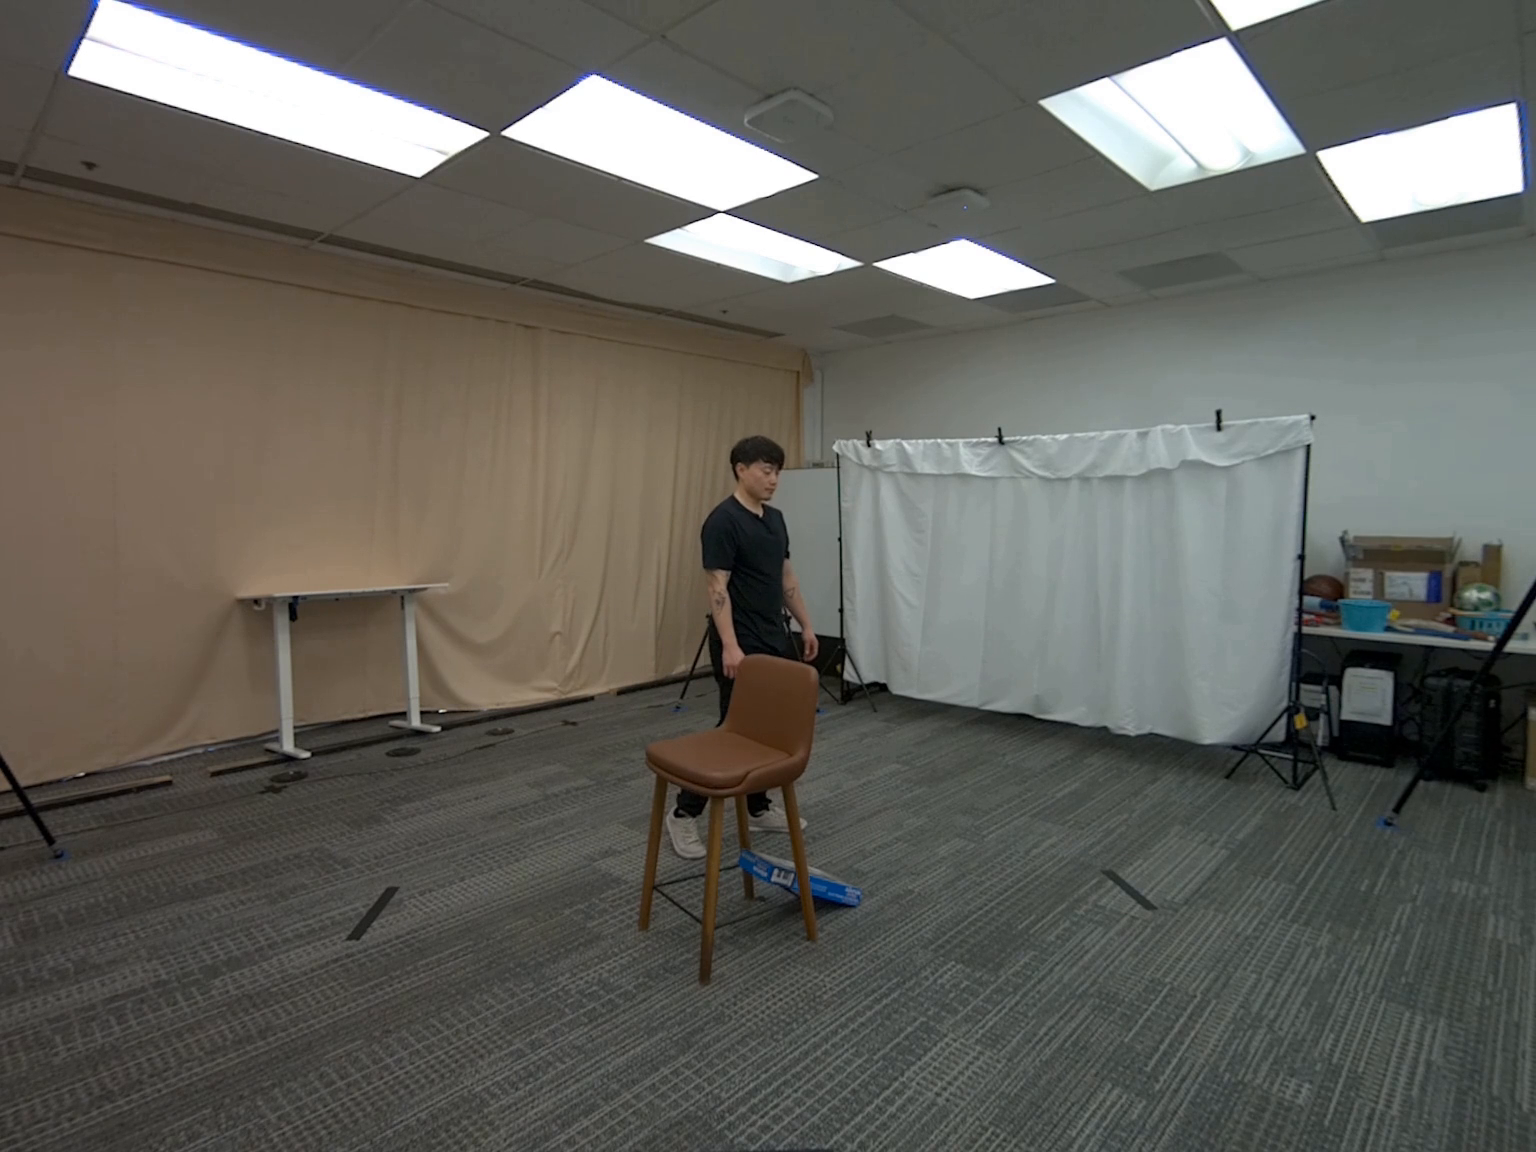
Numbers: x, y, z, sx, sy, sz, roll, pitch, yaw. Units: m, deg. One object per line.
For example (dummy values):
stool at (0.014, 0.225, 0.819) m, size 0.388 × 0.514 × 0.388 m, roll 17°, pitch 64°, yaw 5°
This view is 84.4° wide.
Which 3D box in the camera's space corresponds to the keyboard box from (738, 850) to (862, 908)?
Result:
keyboard box at (0.117, 1.038, 2.884) m, size 0.422 × 0.059 × 0.181 m, roll 27°, pitch -12°, yaw -34°
